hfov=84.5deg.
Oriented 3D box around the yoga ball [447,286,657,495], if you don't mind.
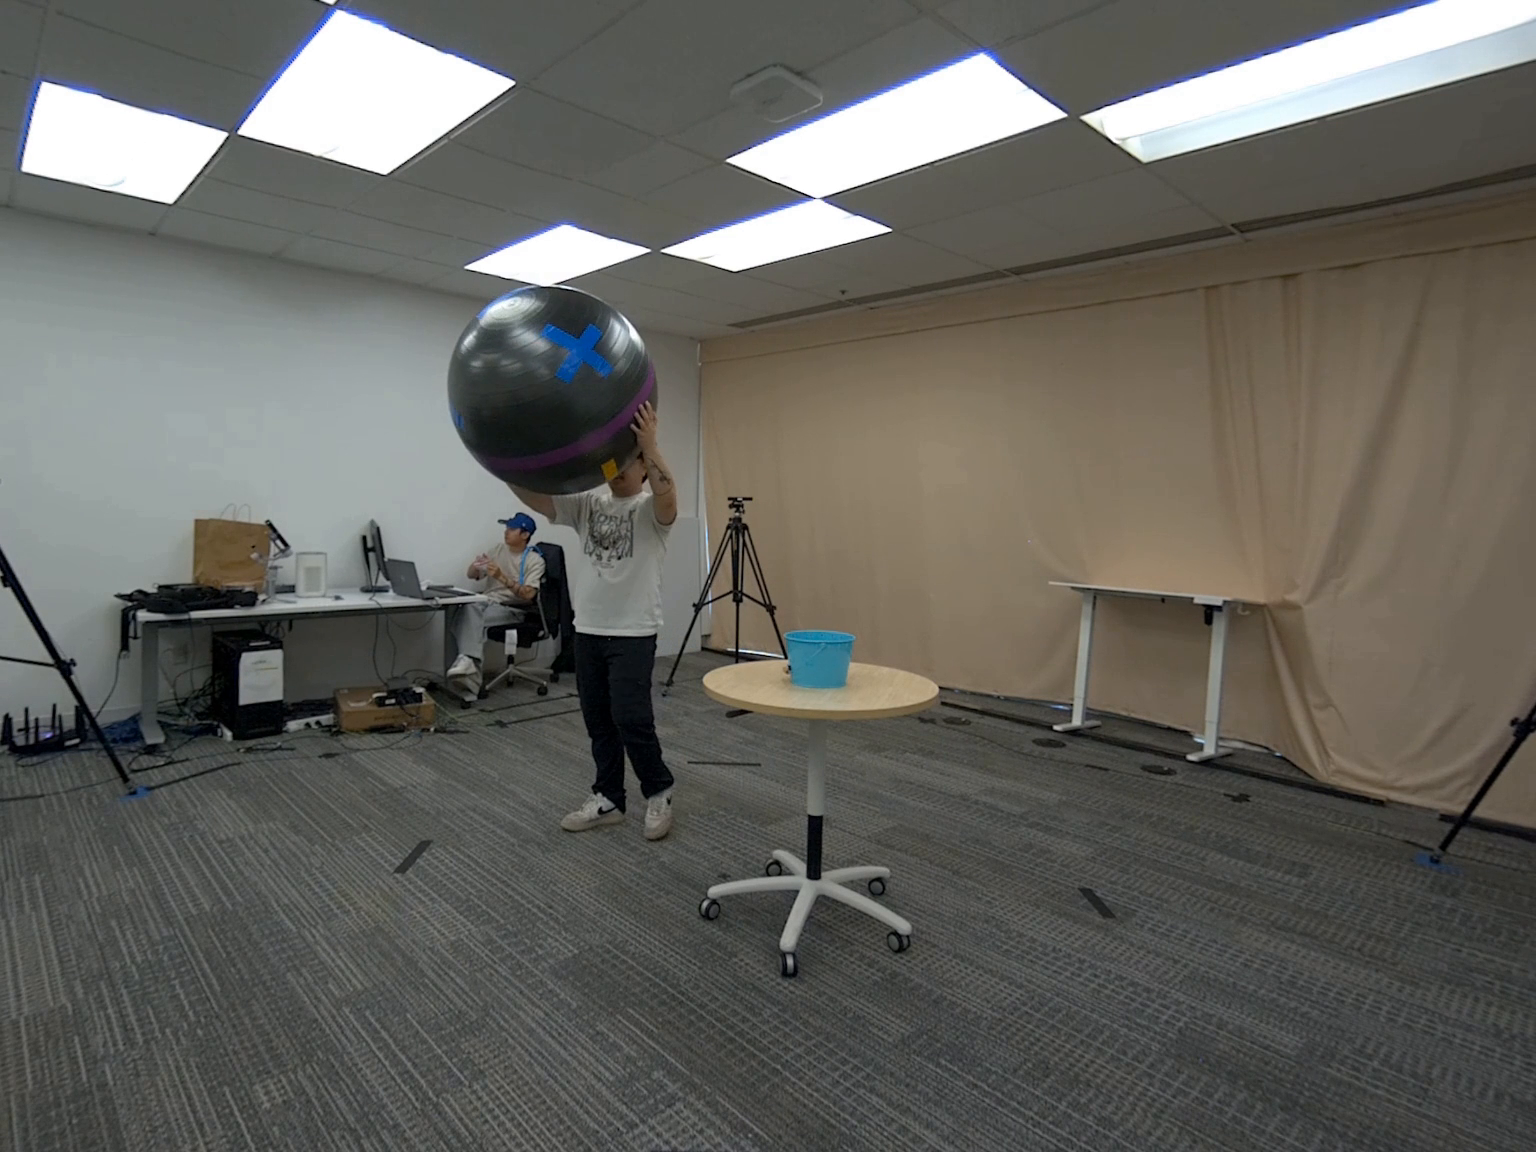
[{"bbox_3d":[-0.791,-0.675,3.109,0.757,0.756,0.760,1,4,-1],"label":"yoga ball"}]
